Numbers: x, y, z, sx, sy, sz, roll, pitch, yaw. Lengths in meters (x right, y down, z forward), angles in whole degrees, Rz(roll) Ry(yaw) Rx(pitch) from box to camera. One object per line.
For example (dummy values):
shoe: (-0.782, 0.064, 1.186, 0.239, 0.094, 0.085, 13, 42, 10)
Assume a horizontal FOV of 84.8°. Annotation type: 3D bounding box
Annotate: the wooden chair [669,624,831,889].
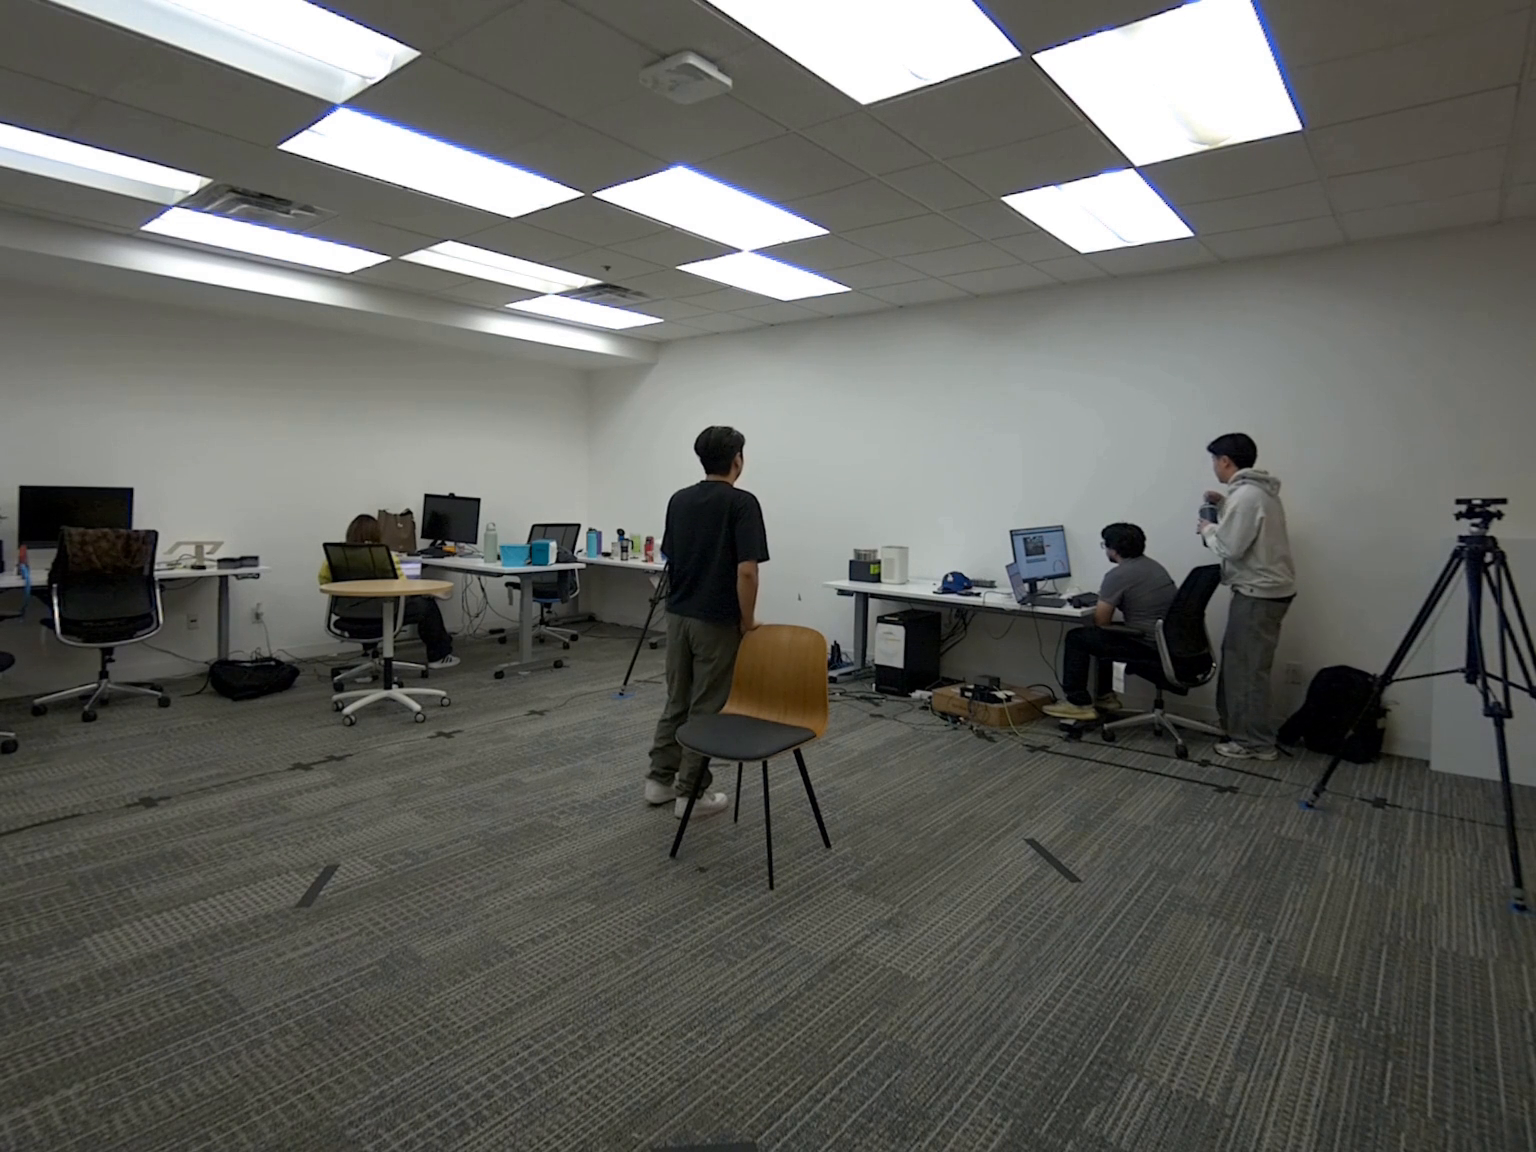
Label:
wooden chair: (-0.060, 0.634, 3.229, 0.493, 0.878, 0.507, 3, 0, 32)
